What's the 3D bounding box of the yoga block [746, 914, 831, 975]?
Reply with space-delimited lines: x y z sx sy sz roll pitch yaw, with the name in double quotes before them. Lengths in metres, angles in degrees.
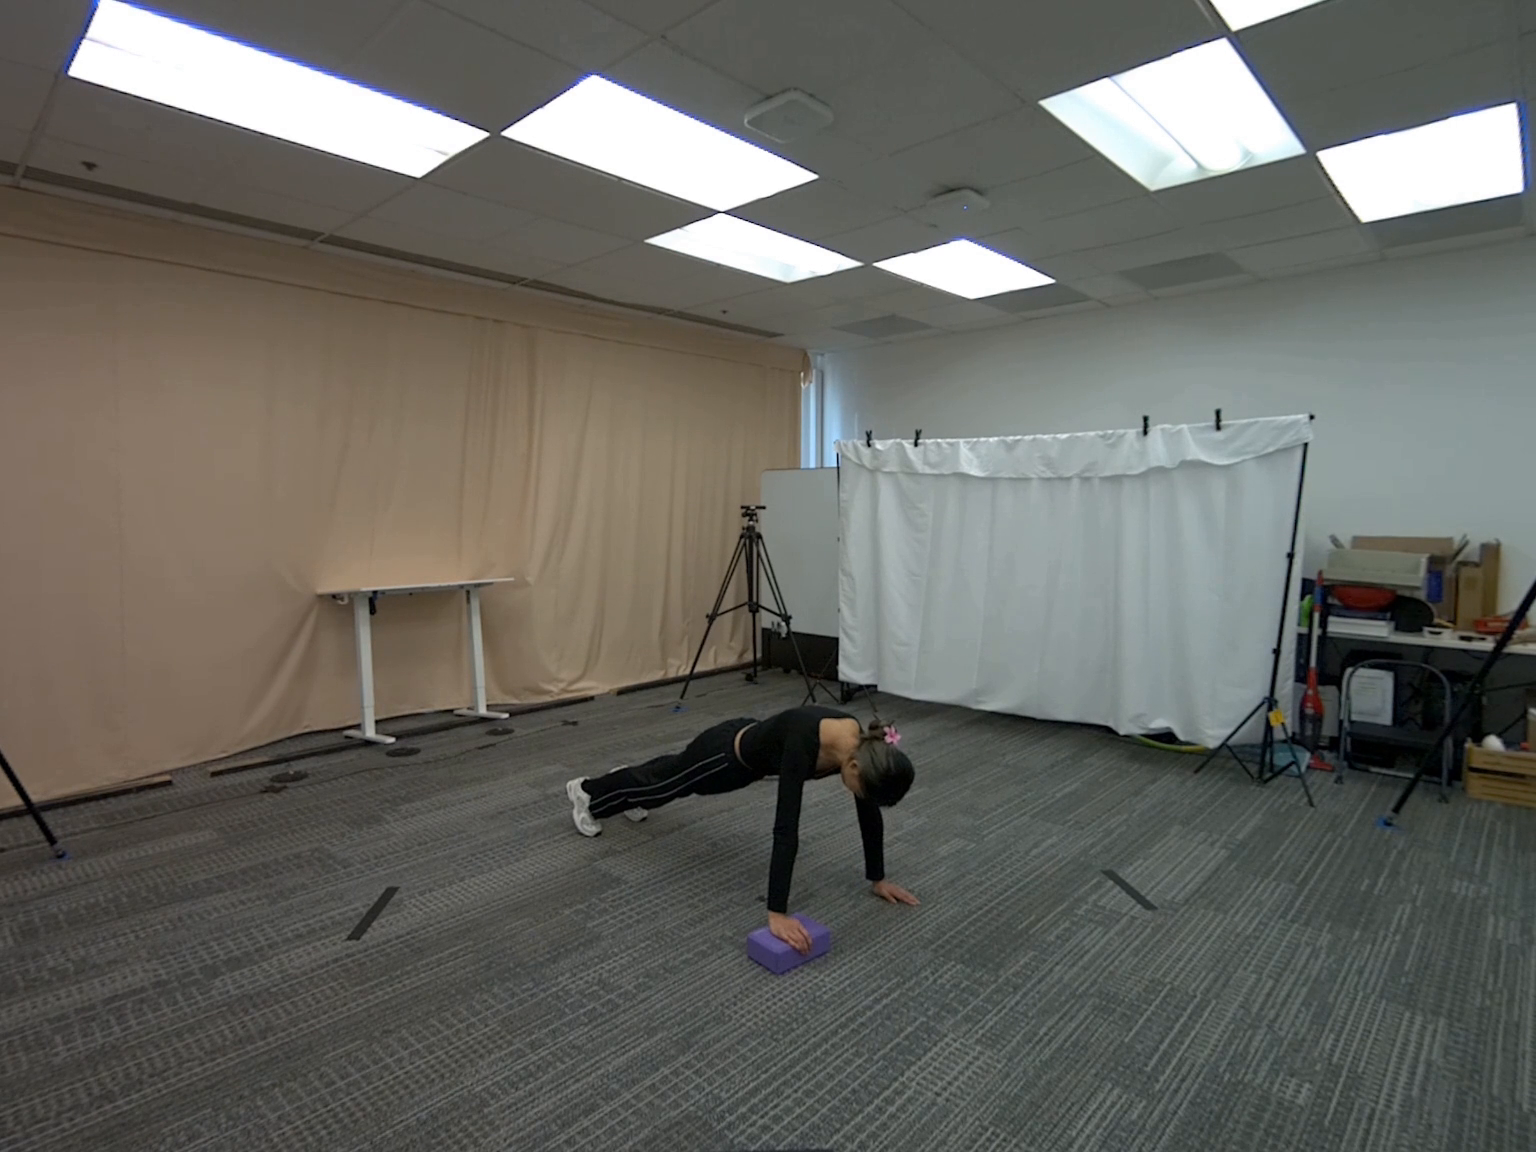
"yoga block" 0.069 1.139 2.616 0.223 0.076 0.154 -7 8 -39
